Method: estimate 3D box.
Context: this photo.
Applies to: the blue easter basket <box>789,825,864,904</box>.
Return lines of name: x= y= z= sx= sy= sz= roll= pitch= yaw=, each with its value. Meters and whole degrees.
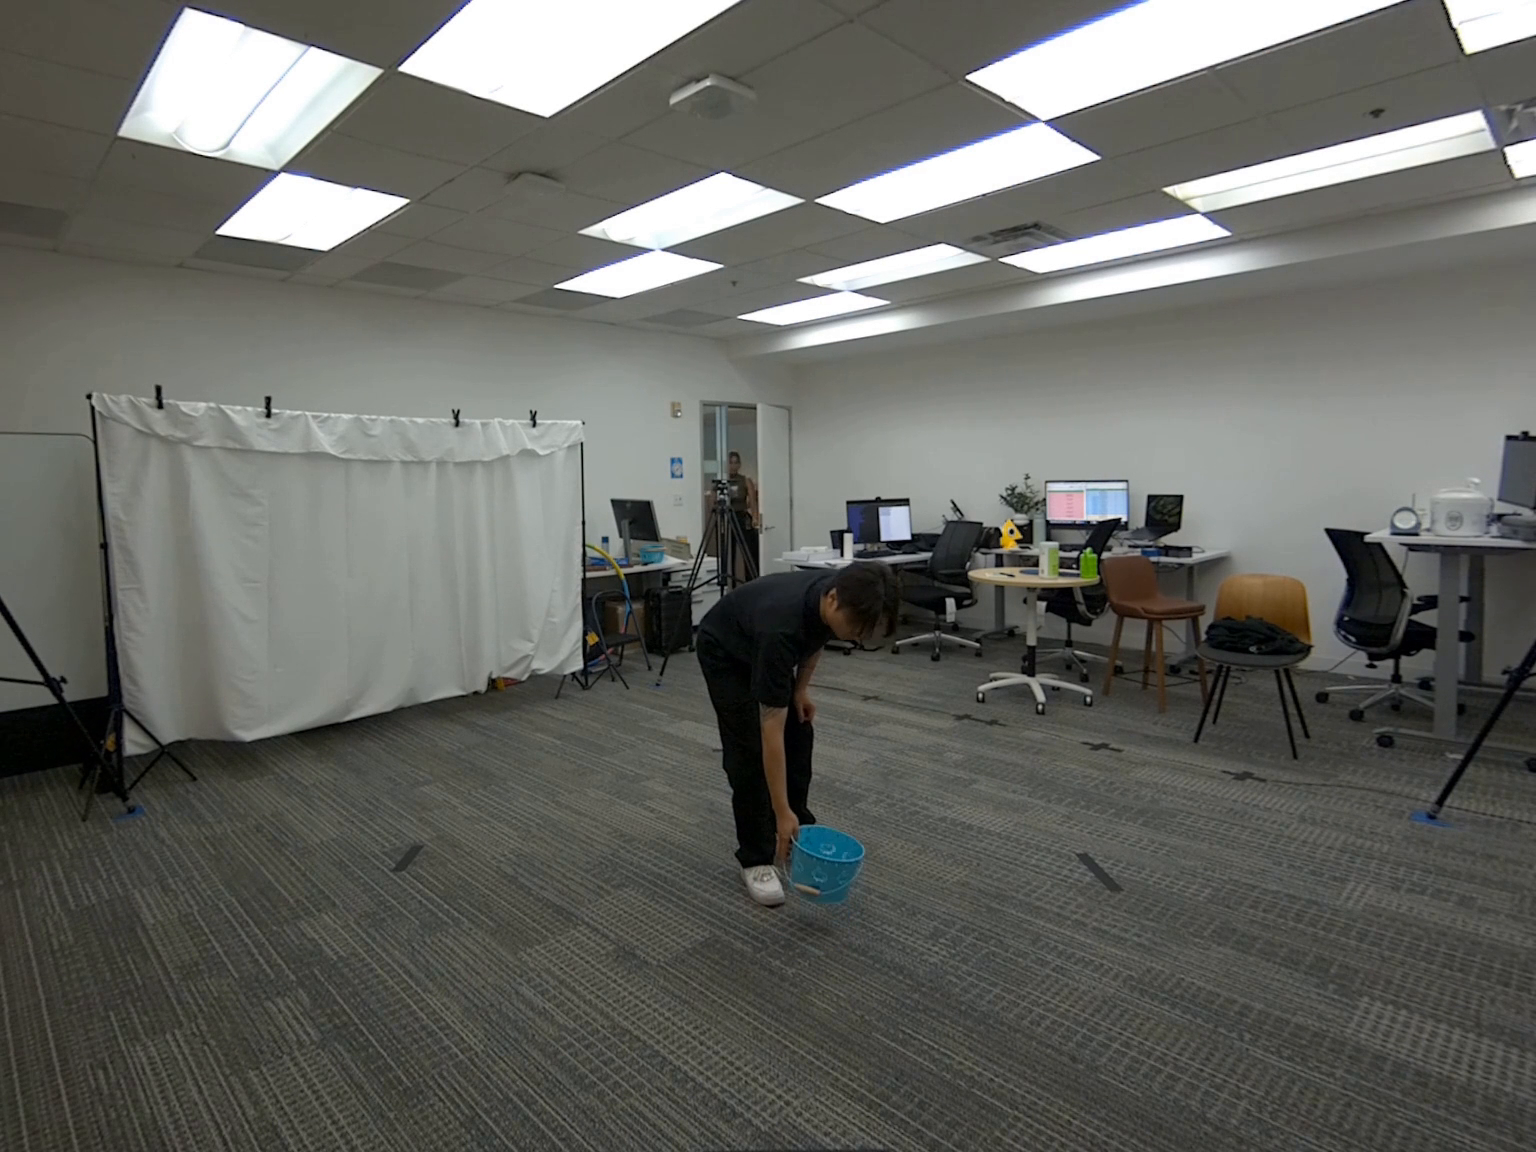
blue easter basket: x=0.175 y=0.900 z=2.648 sx=0.243 sy=0.155 sz=0.245 roll=9 pitch=6 yaw=-3
